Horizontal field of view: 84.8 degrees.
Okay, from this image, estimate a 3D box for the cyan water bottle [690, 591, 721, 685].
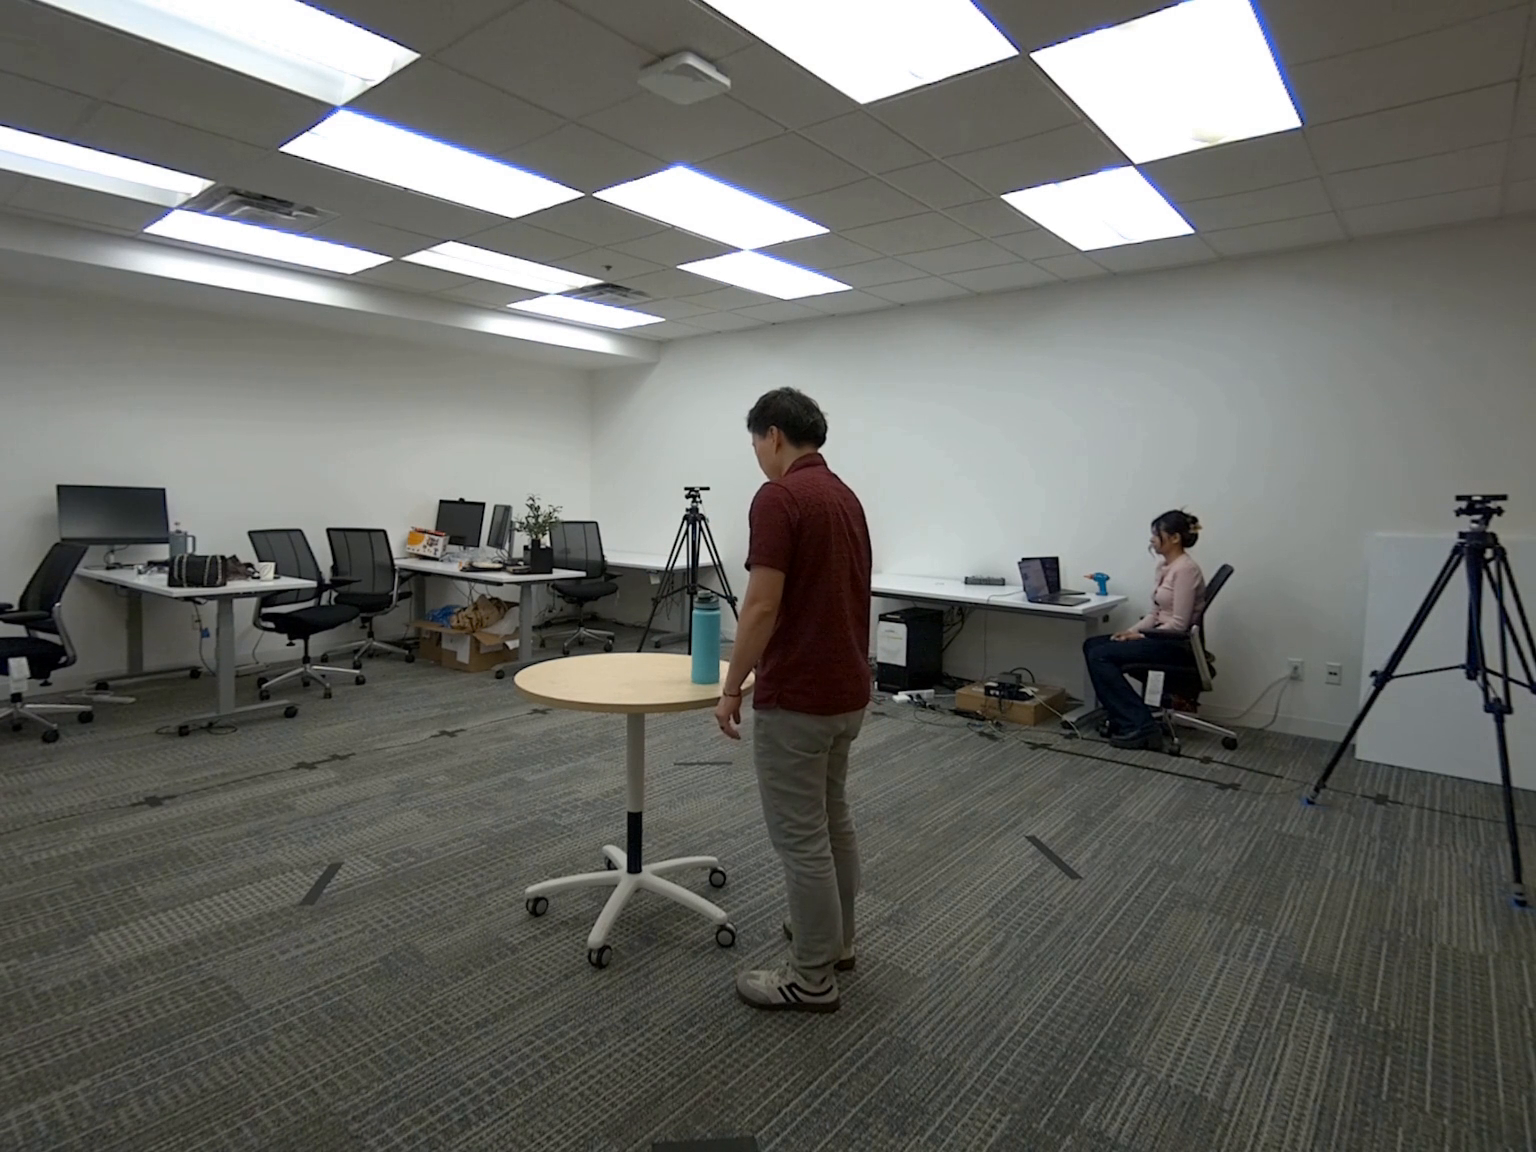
[{"bbox_3d":[-0.205,0.190,2.651,0.092,0.283,0.092,0,2,-2],"label":"cyan water bottle"}]
